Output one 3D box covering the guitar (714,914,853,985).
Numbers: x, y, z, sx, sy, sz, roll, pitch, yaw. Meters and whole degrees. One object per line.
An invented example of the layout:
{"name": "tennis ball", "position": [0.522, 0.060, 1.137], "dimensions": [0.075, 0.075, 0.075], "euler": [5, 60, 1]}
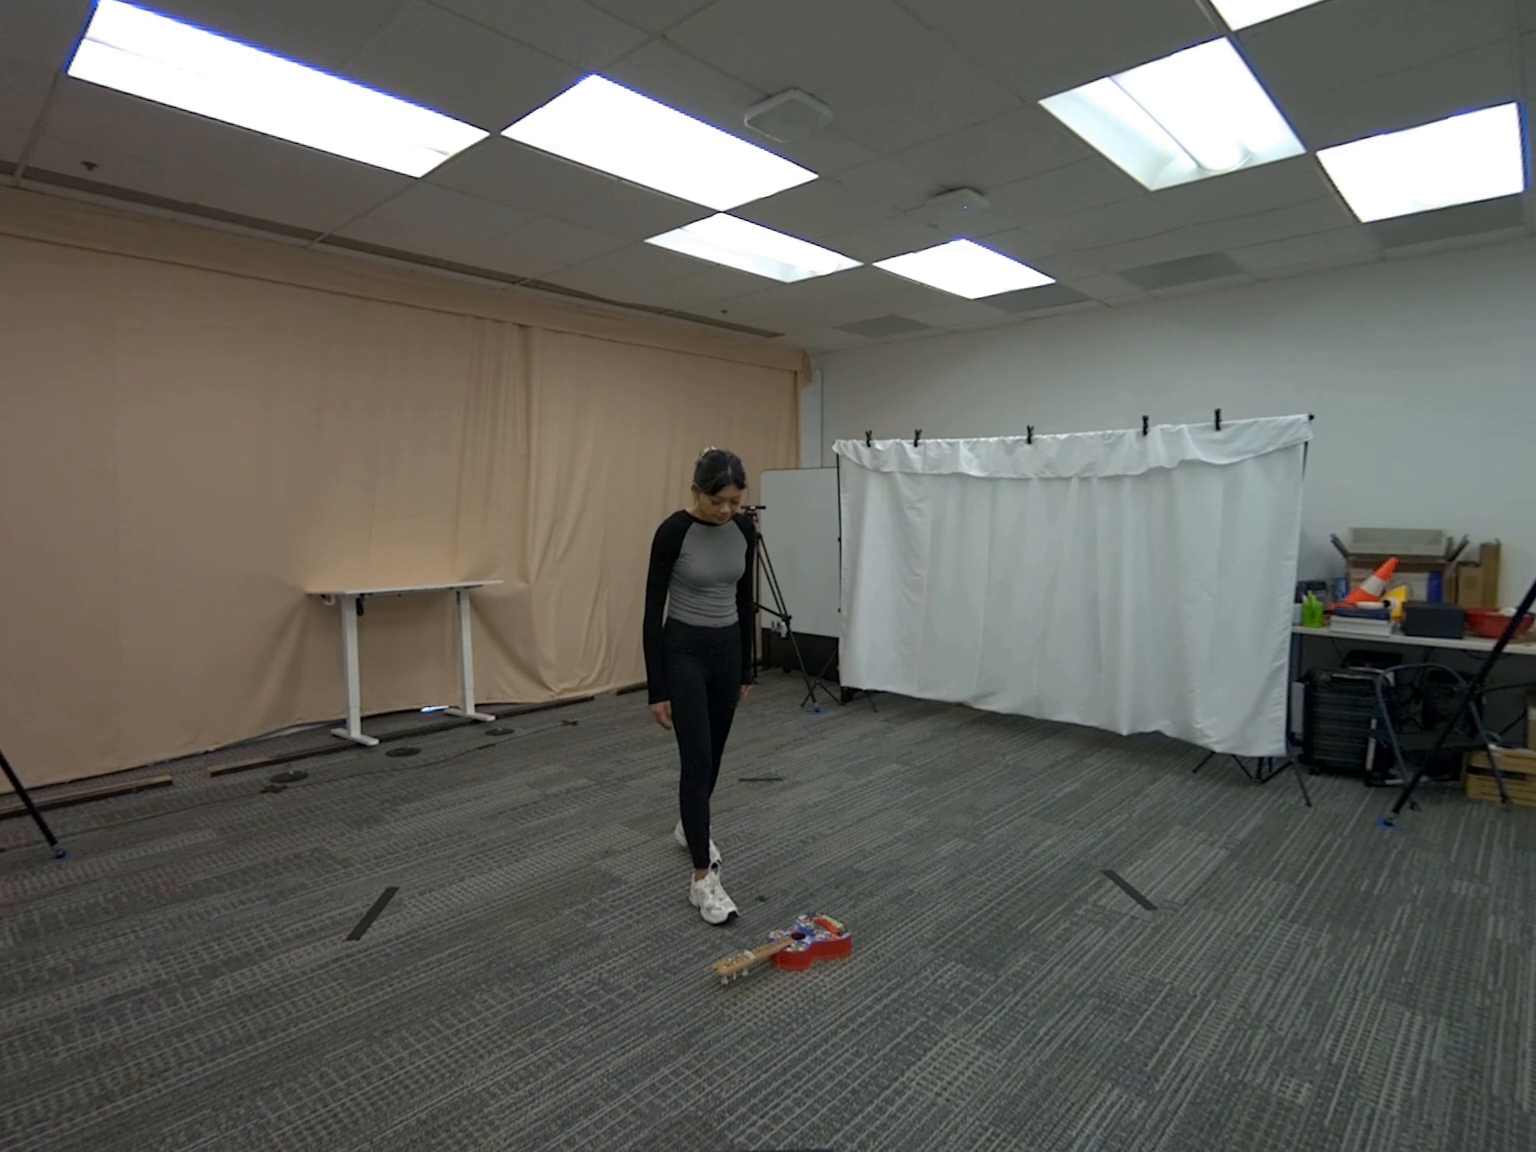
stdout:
{"name": "guitar", "position": [0.027, 1.141, 2.589], "dimensions": [0.485, 0.070, 0.198], "euler": [-2, 5, -29]}
